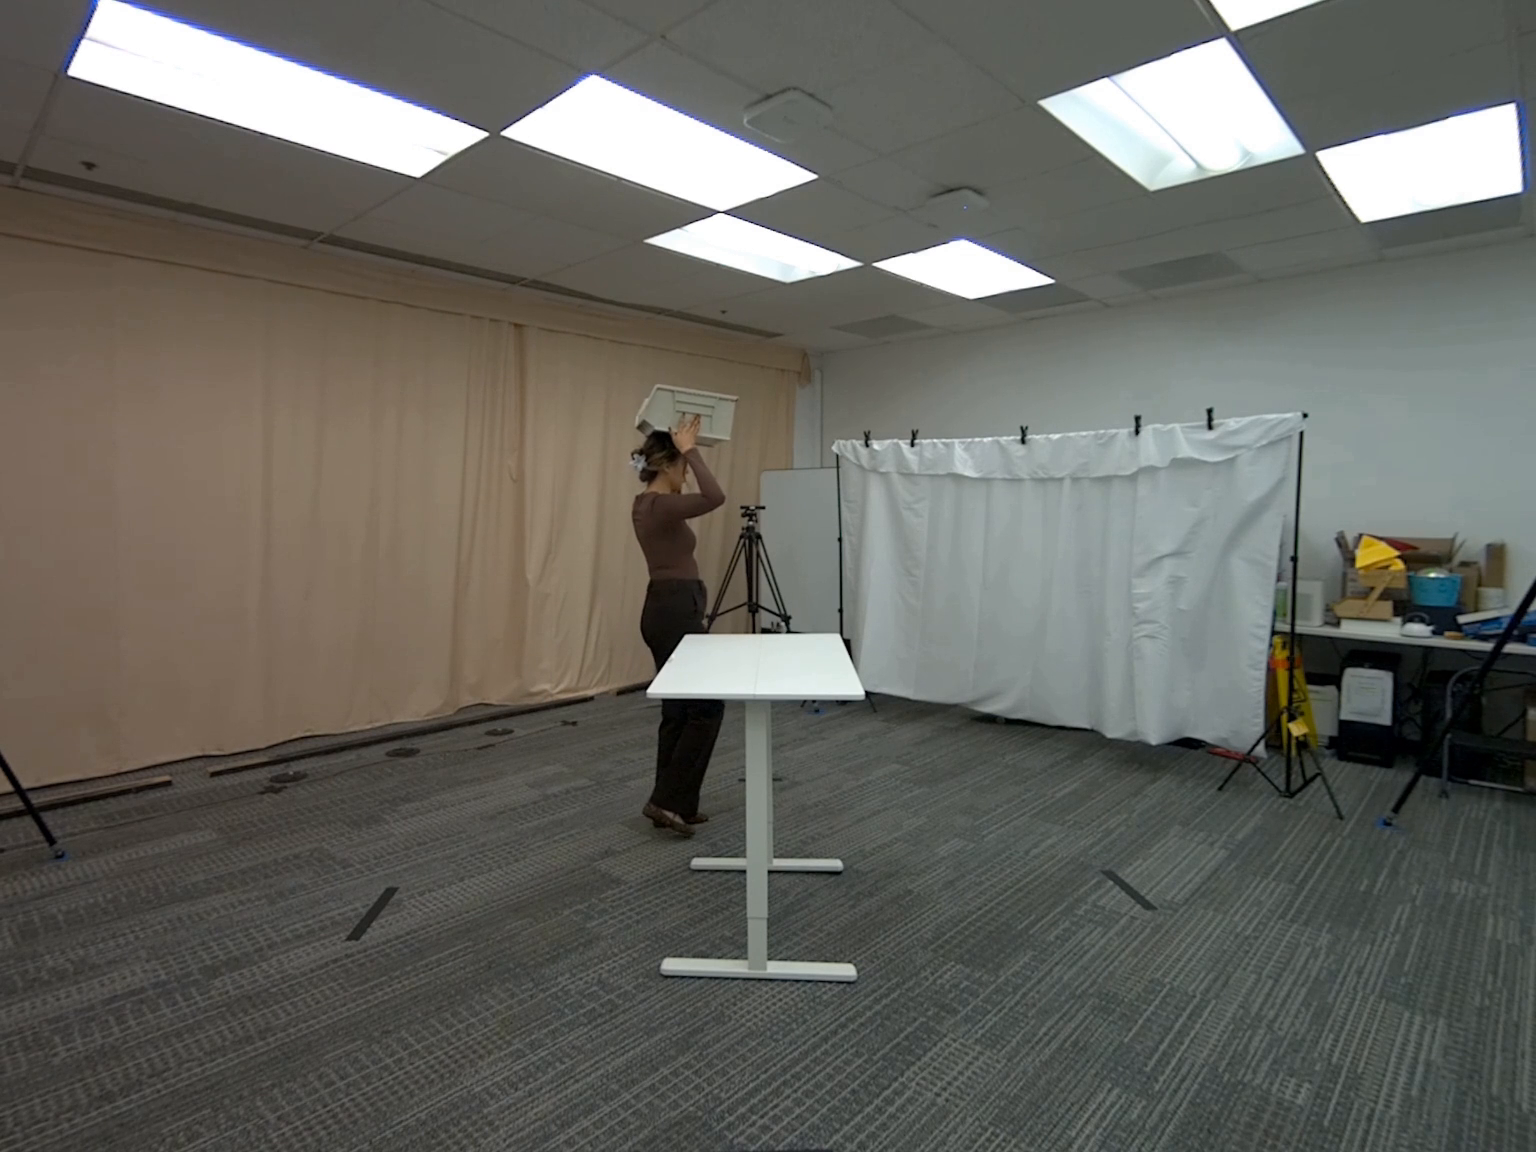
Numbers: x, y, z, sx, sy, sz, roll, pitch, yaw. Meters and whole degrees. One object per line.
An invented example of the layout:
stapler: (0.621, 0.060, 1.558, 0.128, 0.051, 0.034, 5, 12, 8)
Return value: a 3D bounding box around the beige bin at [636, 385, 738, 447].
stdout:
beige bin: (-0.359, -0.679, 3.608, 0.373, 0.188, 0.428, 7, 4, -11)
